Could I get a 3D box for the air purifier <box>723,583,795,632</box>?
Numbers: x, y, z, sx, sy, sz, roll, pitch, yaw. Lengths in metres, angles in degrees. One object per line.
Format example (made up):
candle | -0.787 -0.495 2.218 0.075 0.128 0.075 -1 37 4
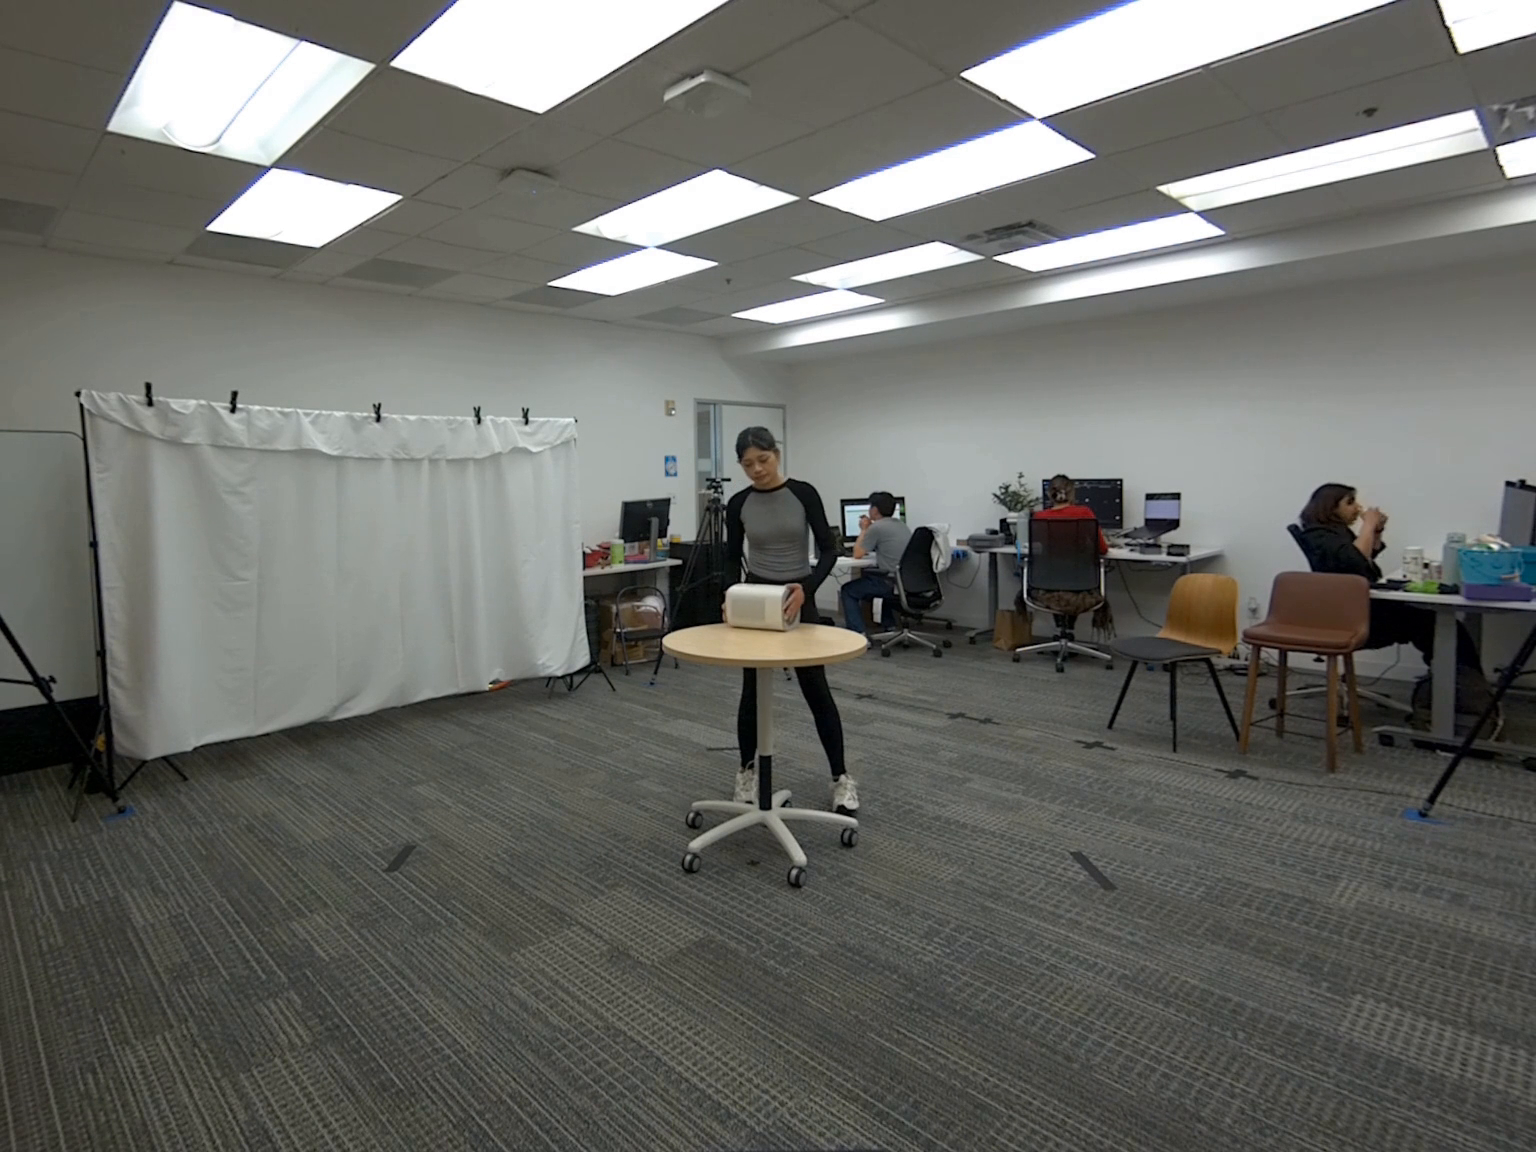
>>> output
air purifier | -0.033 0.124 3.456 0.272 0.170 0.168 2 8 28
